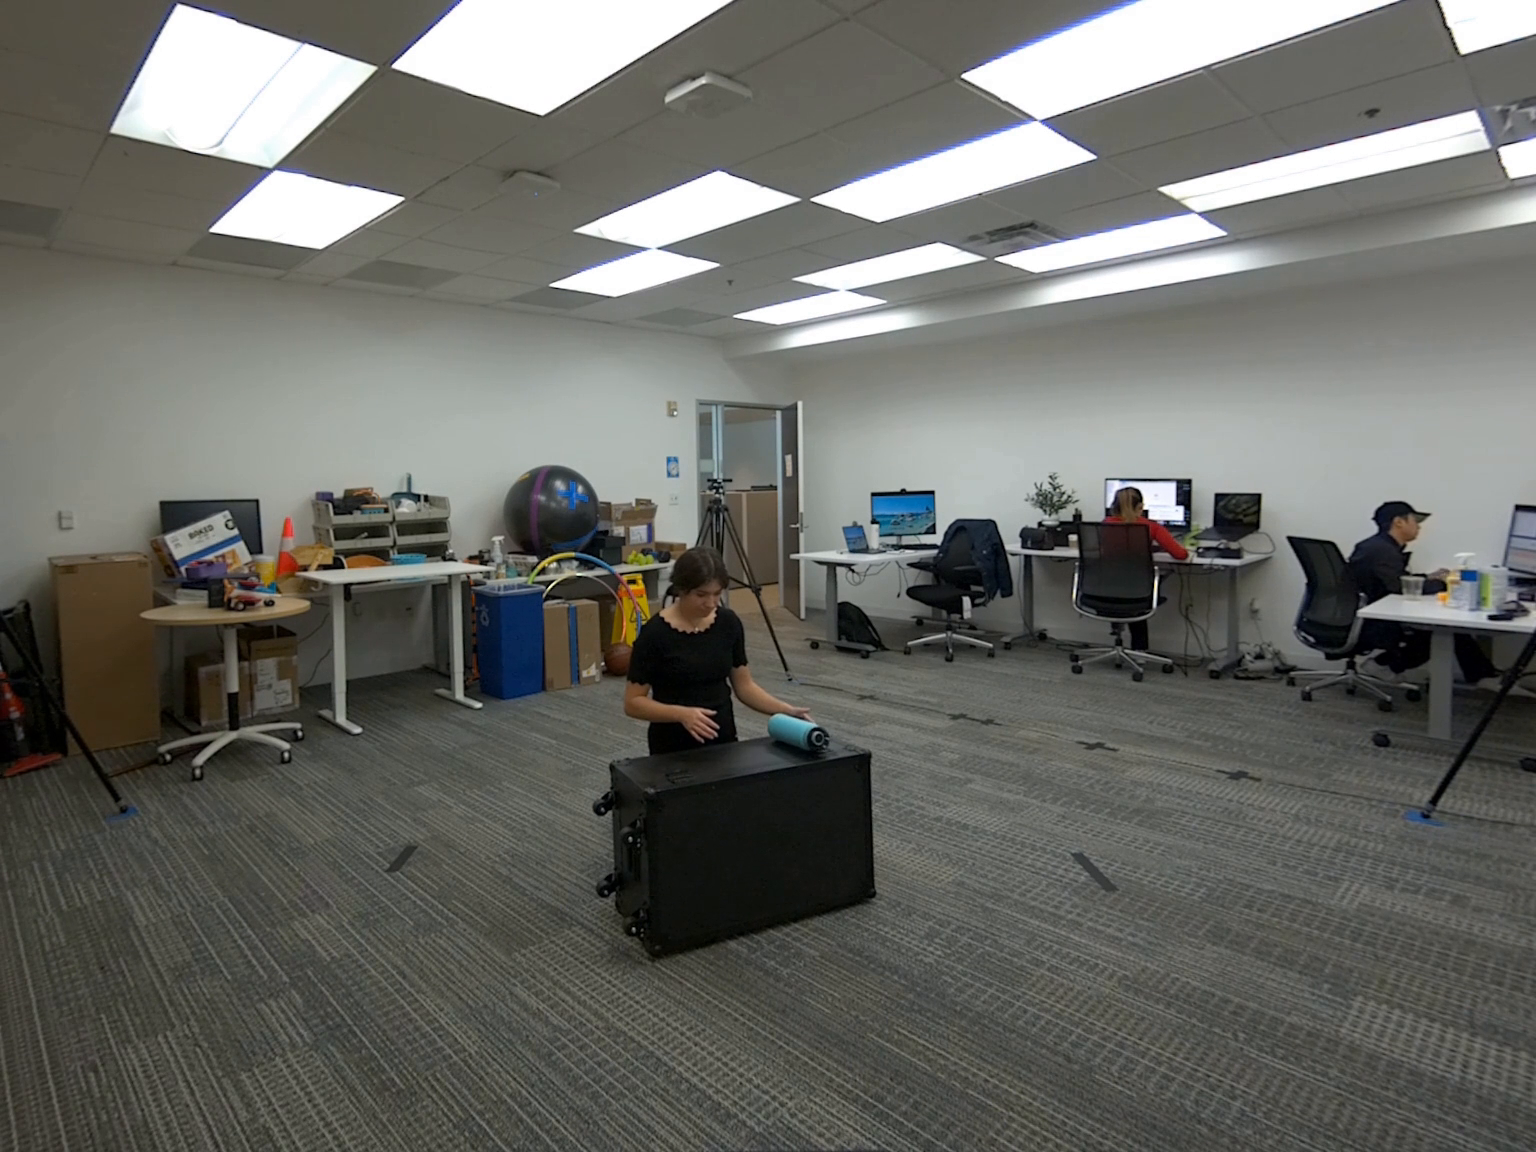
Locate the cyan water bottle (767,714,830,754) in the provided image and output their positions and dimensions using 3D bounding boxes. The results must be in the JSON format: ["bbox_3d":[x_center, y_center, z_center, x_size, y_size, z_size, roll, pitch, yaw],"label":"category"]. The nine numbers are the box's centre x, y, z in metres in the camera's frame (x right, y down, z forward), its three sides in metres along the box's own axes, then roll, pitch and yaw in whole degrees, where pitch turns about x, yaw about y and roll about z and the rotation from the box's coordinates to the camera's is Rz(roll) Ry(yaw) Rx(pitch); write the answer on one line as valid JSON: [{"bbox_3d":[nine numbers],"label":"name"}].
[{"bbox_3d":[0.104,0.526,2.863,0.090,0.092,0.290,-3,4,-27],"label":"cyan water bottle"}]
